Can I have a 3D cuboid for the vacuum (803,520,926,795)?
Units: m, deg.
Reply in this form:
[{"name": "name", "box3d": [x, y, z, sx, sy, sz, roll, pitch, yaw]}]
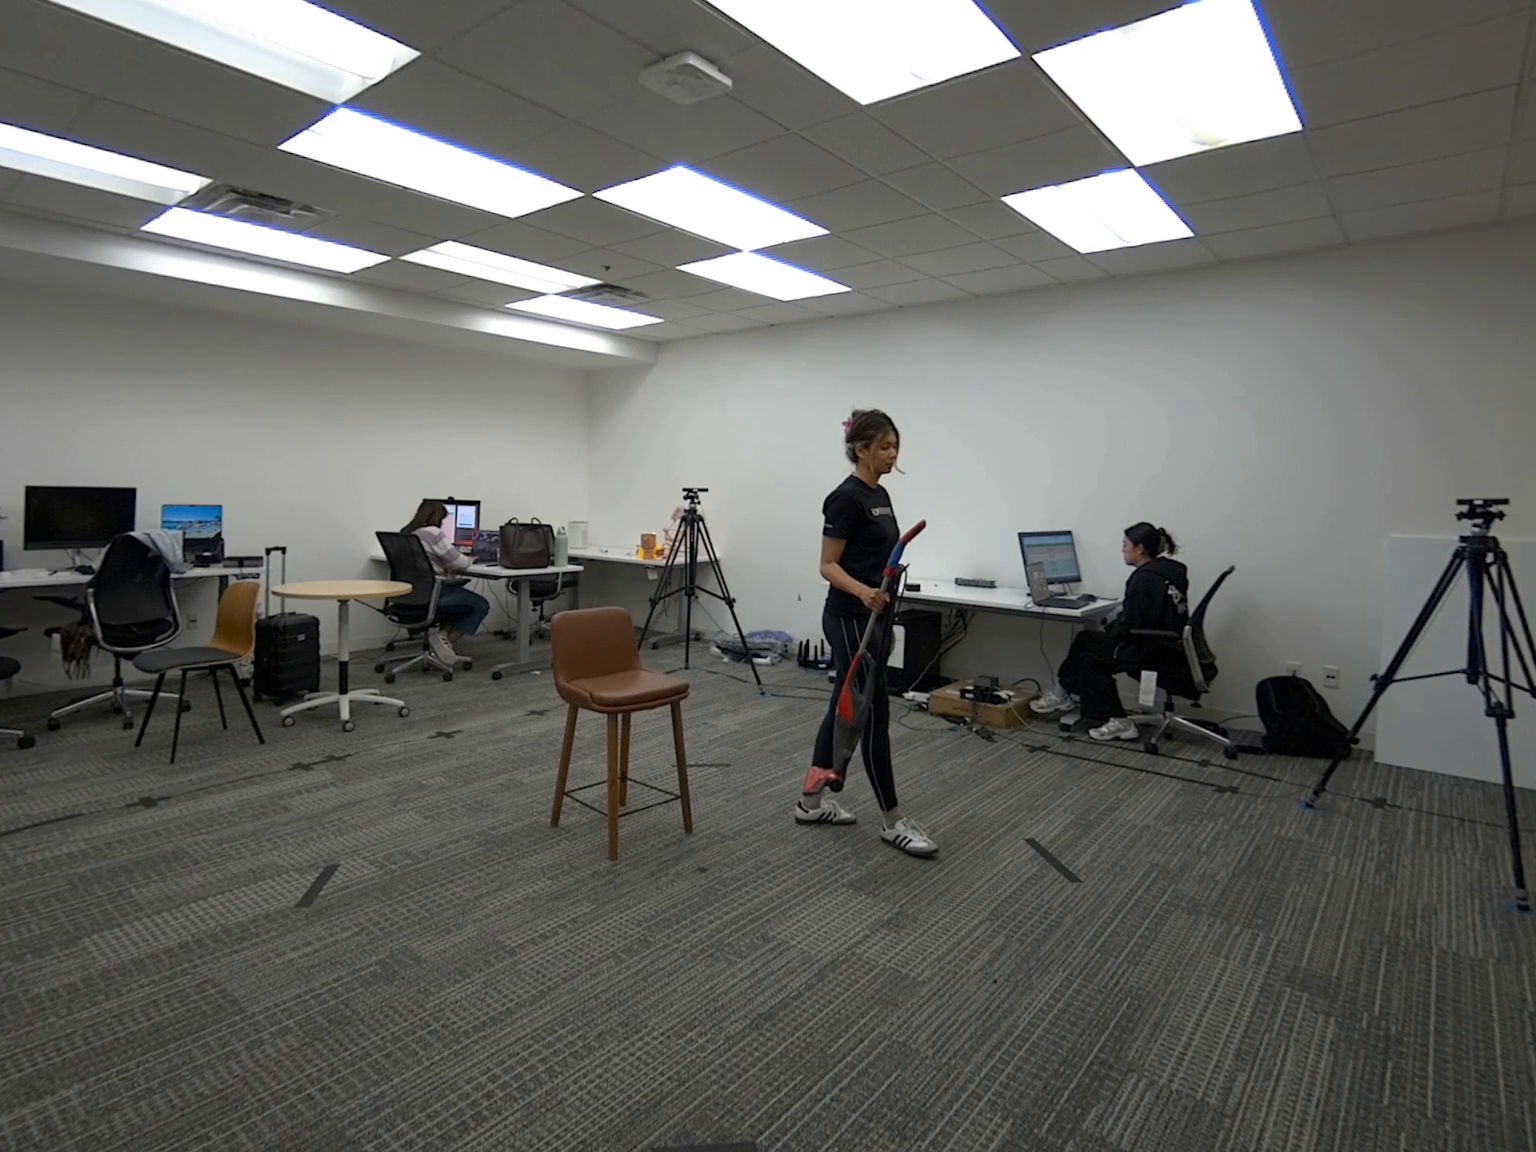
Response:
[{"name": "vacuum", "box3d": [0.376, 0.292, 3.115, 0.145, 1.044, 0.252, 20, 8, 4]}]
